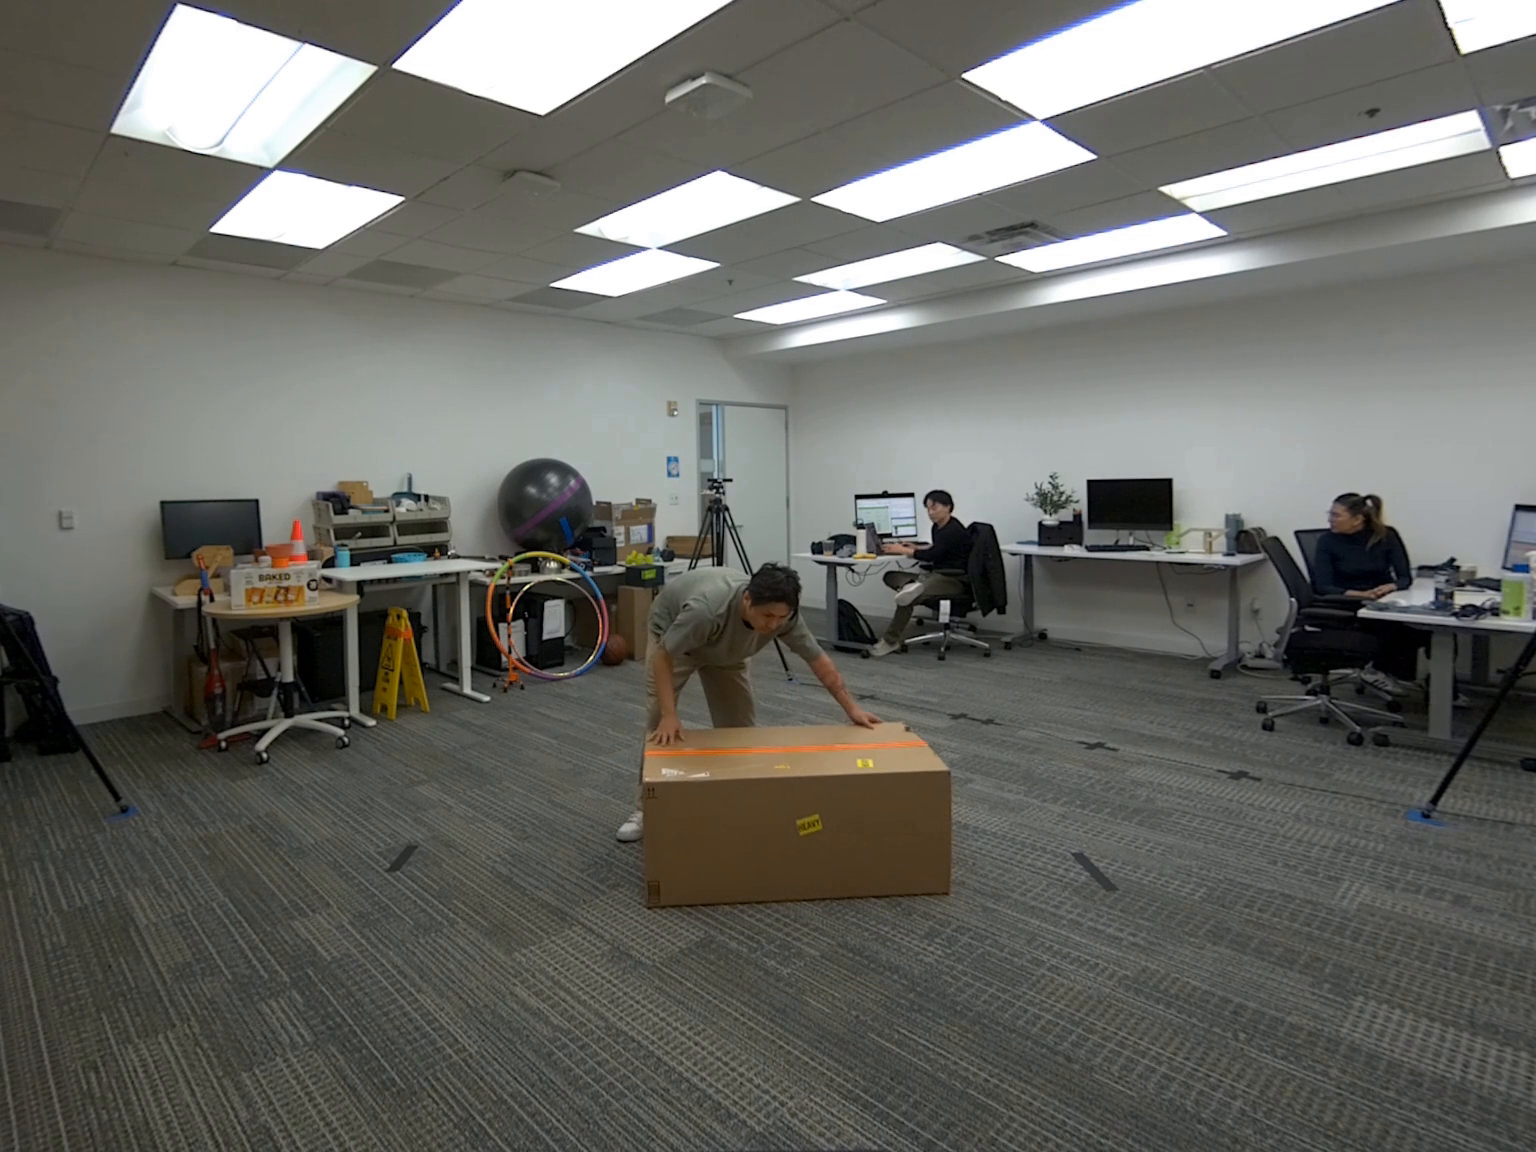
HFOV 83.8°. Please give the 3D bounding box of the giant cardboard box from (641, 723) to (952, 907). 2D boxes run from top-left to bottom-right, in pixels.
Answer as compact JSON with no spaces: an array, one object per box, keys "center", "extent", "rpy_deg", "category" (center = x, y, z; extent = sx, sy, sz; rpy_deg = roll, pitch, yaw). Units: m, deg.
[{"center":[0.070,0.826,3.083],"extent":[1.022,0.425,0.581],"rpy_deg":[-2,4,-4],"category":"giant cardboard box"}]
